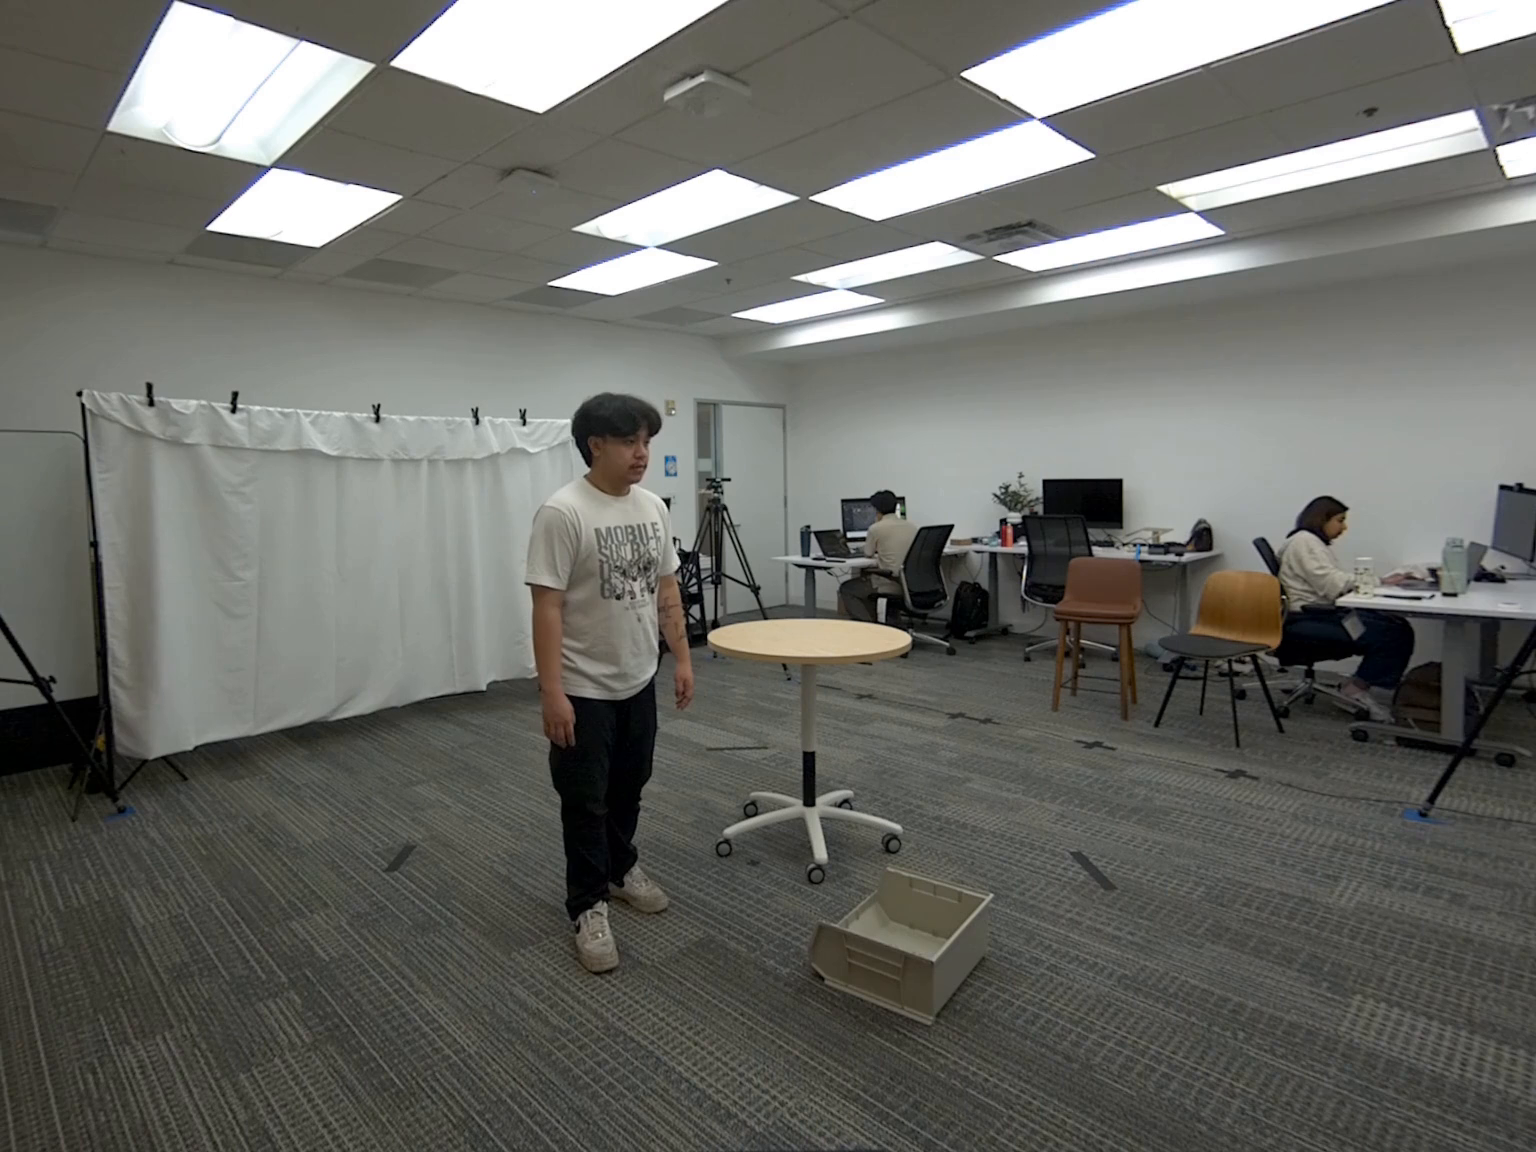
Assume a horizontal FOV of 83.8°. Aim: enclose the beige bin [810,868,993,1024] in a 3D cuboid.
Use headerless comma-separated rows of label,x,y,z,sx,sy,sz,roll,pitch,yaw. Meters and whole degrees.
beige bin,0.384,1.019,2.431,0.388,0.188,0.412,4,7,35
